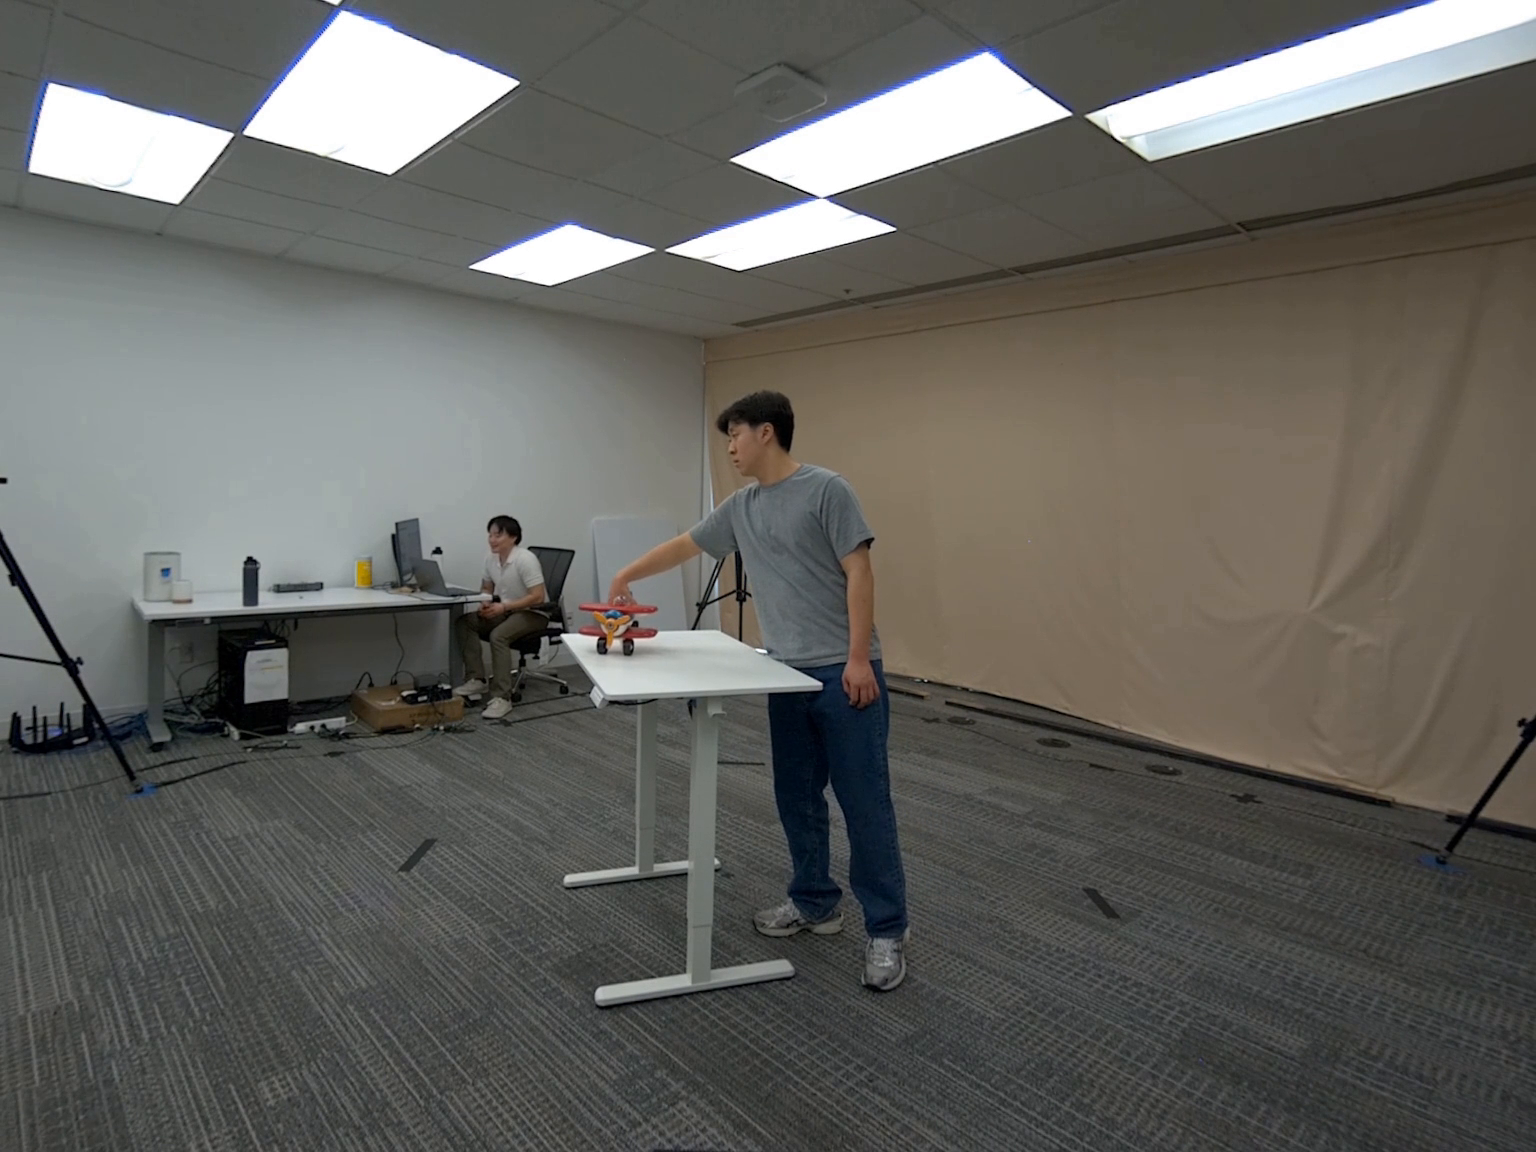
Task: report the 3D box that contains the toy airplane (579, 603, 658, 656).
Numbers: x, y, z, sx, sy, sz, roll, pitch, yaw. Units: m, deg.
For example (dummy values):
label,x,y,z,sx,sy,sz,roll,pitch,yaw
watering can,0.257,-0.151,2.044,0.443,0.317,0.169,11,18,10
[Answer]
label,x,y,z,sx,sy,sz,roll,pitch,yaw
toy airplane,-0.494,0.150,2.751,0.248,0.154,0.266,-7,23,-18
